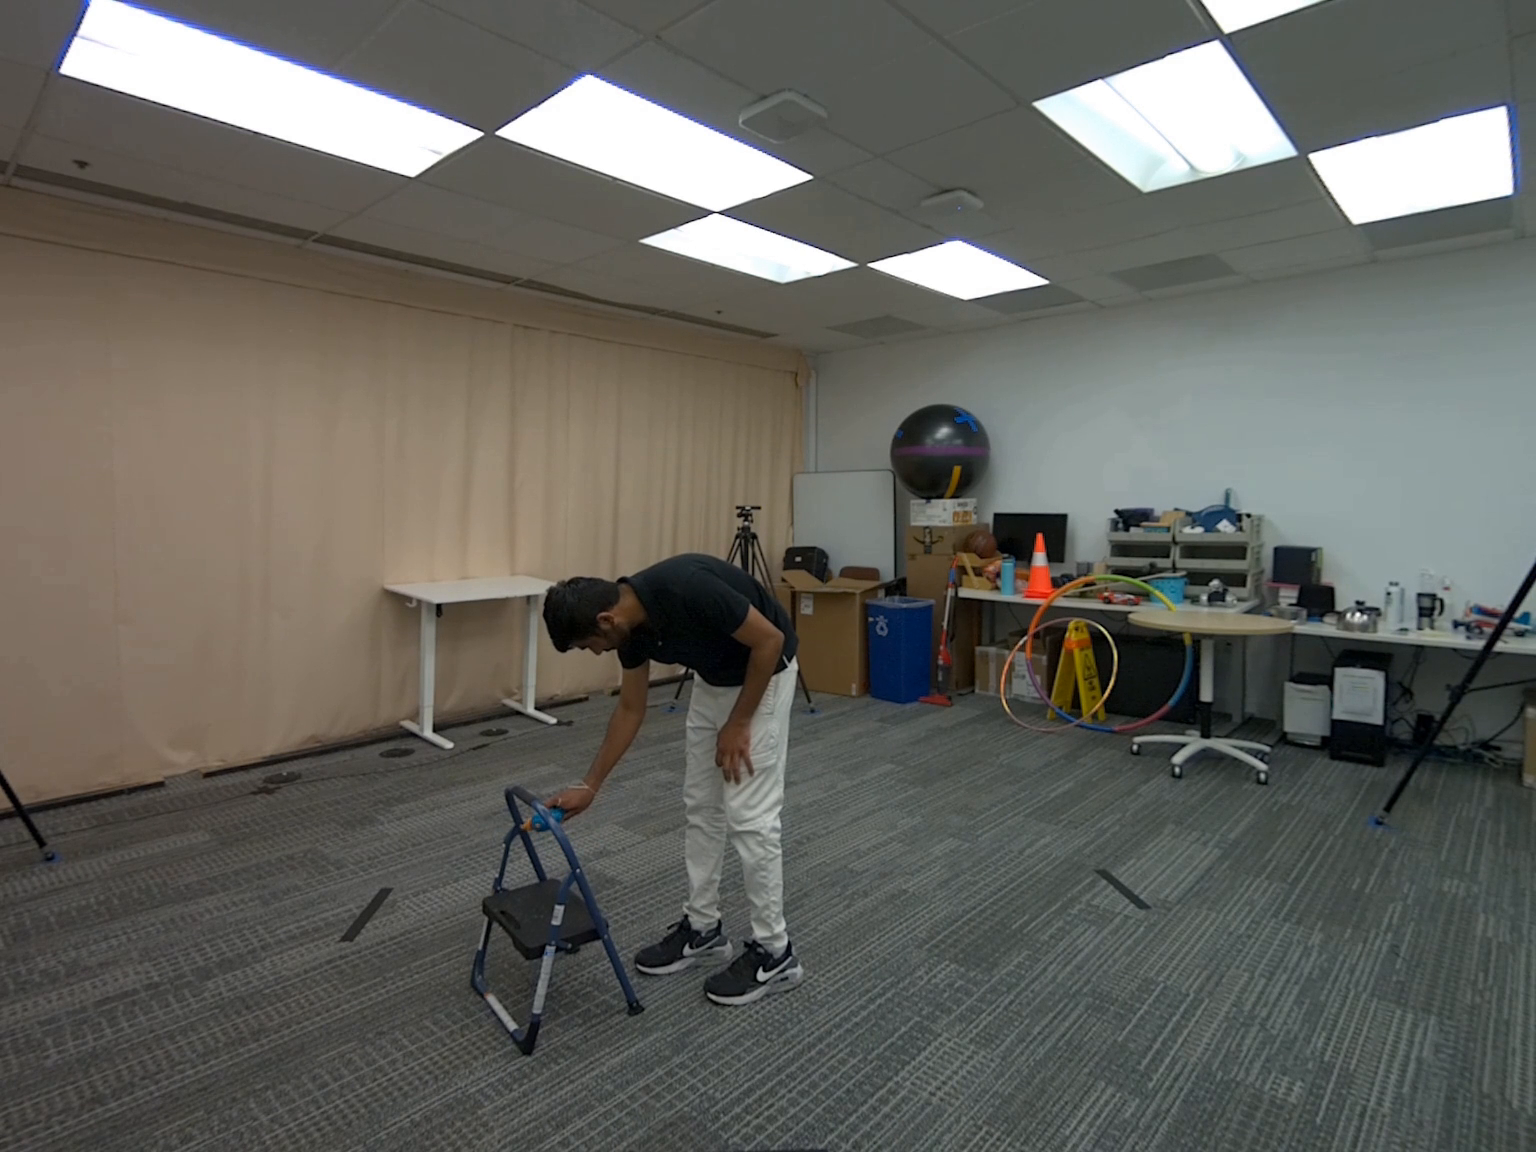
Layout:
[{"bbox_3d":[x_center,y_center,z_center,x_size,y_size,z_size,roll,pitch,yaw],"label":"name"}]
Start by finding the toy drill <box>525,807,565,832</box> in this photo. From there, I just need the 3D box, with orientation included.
[{"bbox_3d":[-0.644,0.718,2.503,0.173,0.061,0.142,-23,-5,28],"label":"toy drill"}]
